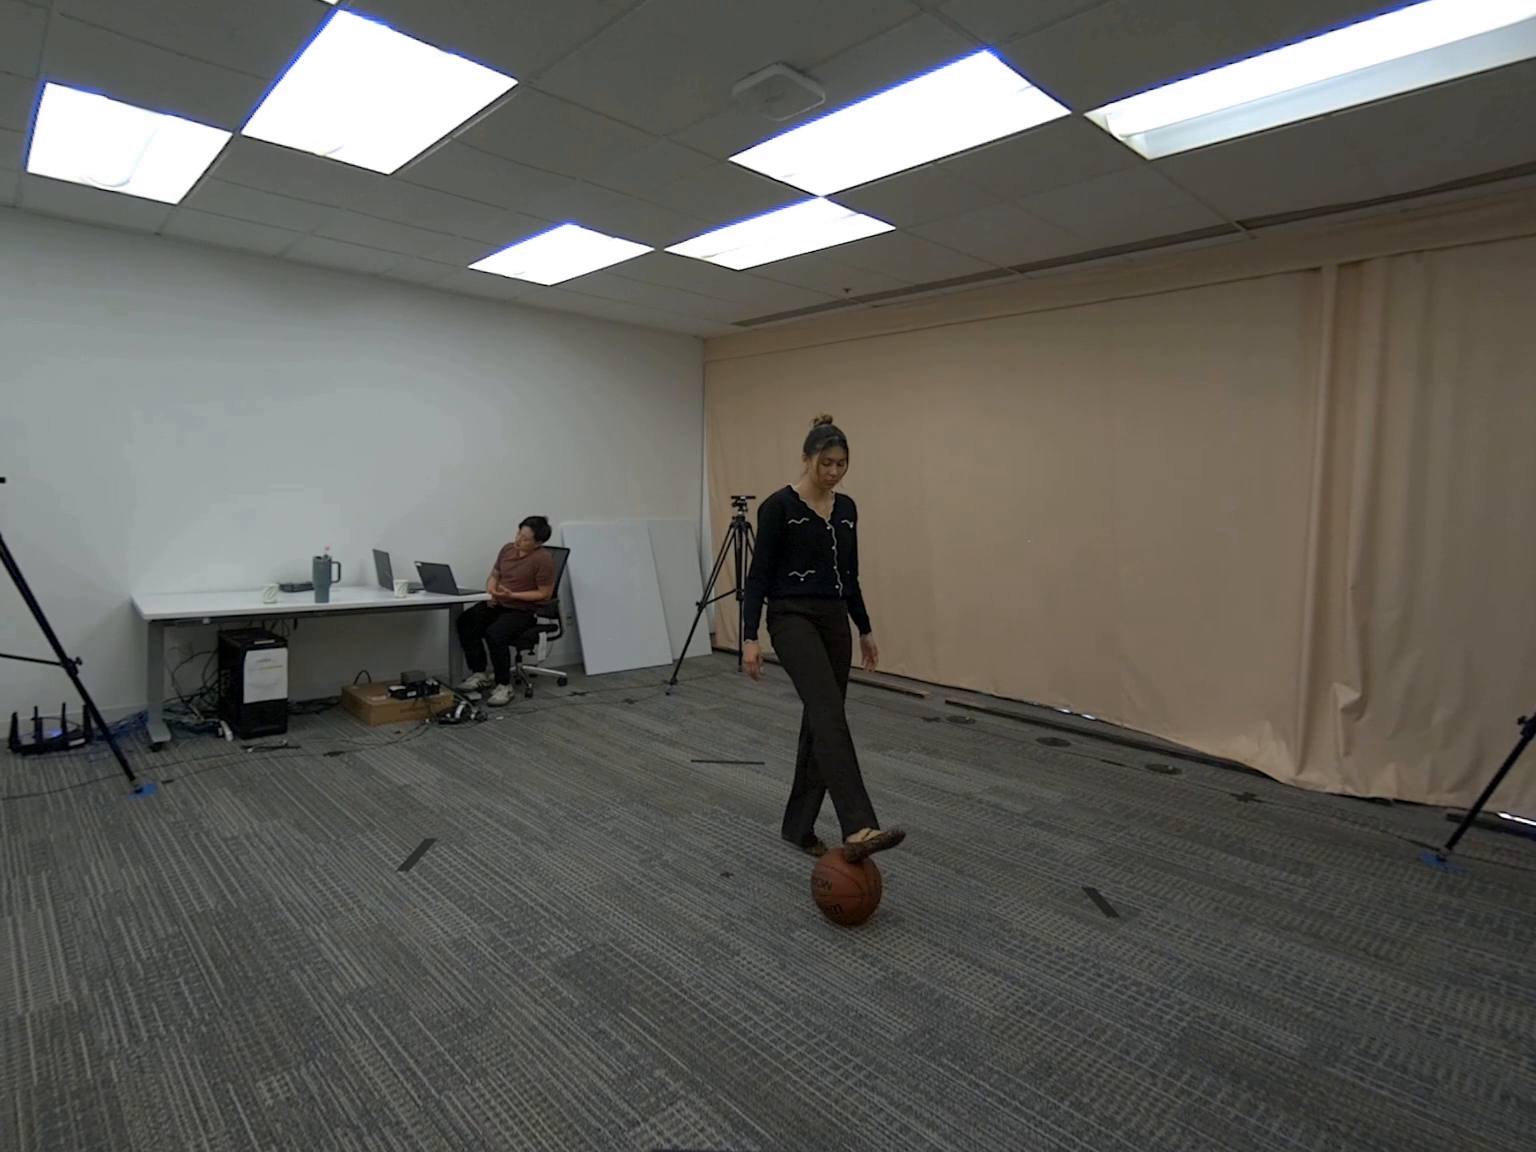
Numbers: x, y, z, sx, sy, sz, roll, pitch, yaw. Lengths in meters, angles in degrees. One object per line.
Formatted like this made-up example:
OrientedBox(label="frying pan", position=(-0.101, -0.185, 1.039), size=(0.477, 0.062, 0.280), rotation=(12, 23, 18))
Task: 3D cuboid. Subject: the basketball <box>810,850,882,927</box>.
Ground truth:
OrientedBox(label="basketball", position=(0.246, 1.026, 2.795), size=(0.236, 0.235, 0.237), rotation=(1, 4, -1))
